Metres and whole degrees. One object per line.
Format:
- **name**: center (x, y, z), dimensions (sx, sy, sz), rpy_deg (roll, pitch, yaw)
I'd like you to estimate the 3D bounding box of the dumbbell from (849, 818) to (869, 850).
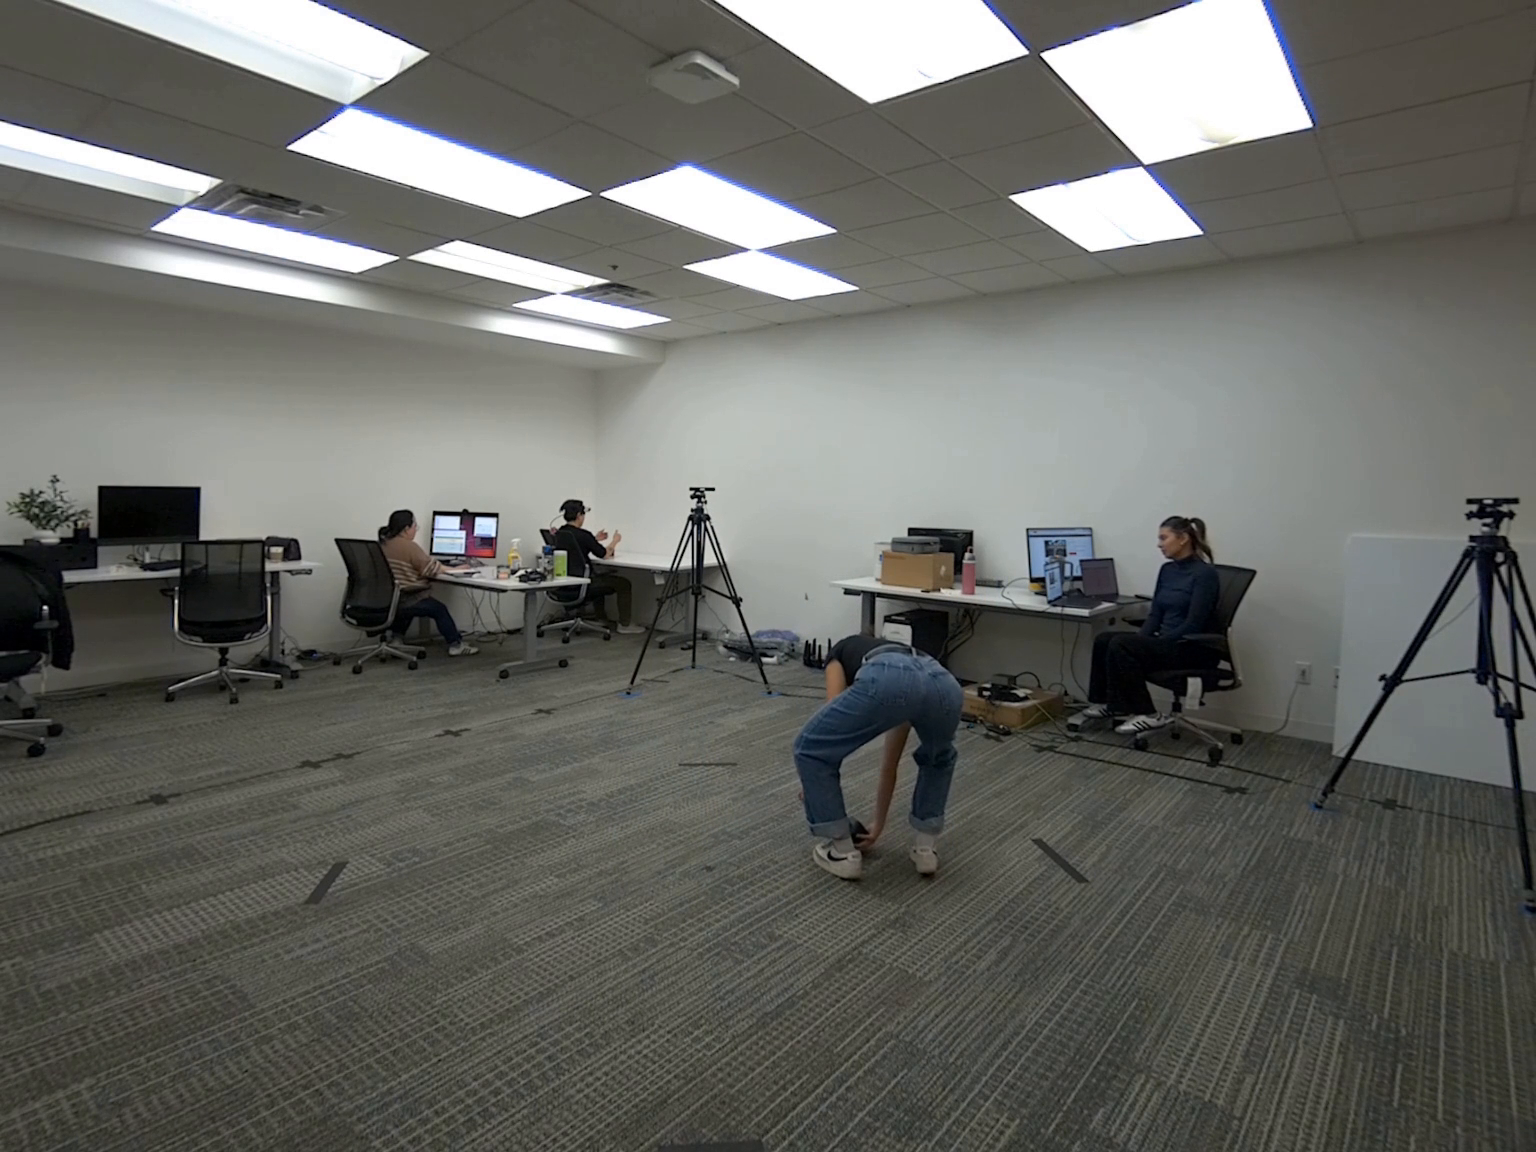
- **dumbbell**: center (0.258, 0.915, 3.293), dimensions (0.108, 0.290, 0.125), rpy_deg (-38, 9, -15)
